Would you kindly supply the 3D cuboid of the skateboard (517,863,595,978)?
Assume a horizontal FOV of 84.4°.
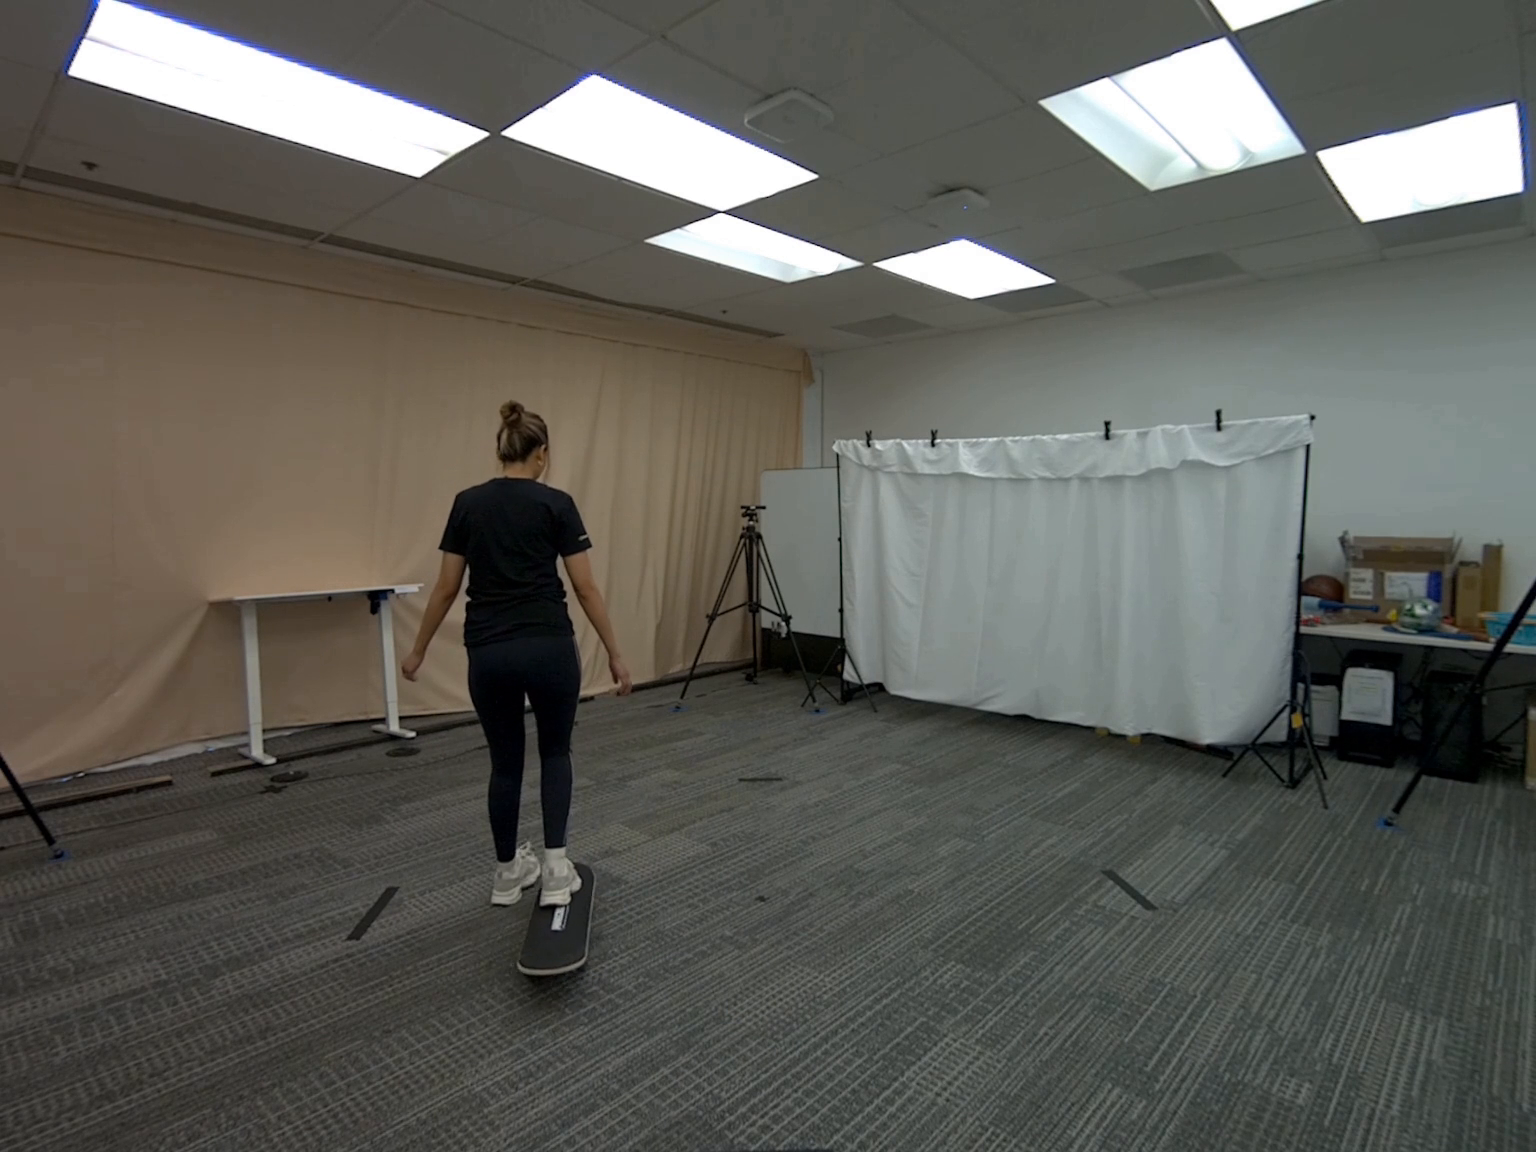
[{"bbox_3d":[-0.666,1.112,2.685,0.192,0.110,0.791,-2,2,-7],"label":"skateboard"}]
